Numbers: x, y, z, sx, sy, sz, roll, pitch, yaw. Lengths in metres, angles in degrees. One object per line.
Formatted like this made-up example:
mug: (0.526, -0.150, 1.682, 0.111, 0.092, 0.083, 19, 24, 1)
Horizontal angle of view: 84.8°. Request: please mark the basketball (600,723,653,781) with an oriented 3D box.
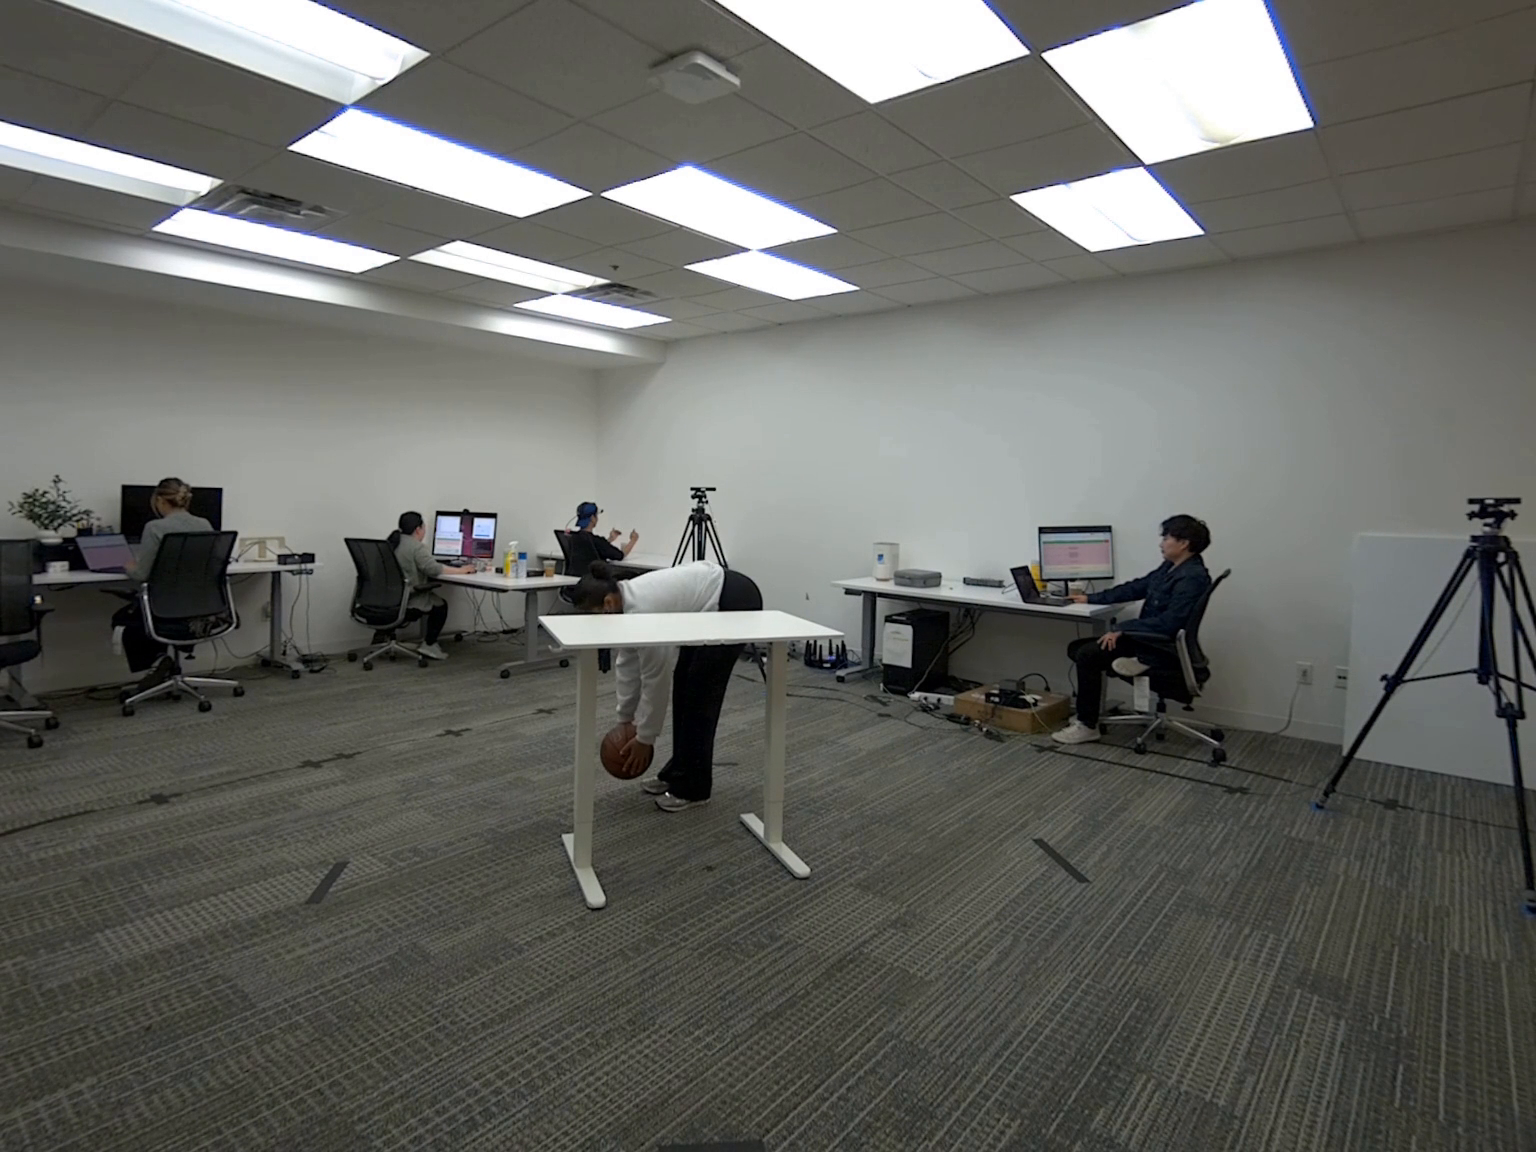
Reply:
basketball: (-0.633, 0.767, 3.767, 0.235, 0.235, 0.237, 1, 4, -2)
